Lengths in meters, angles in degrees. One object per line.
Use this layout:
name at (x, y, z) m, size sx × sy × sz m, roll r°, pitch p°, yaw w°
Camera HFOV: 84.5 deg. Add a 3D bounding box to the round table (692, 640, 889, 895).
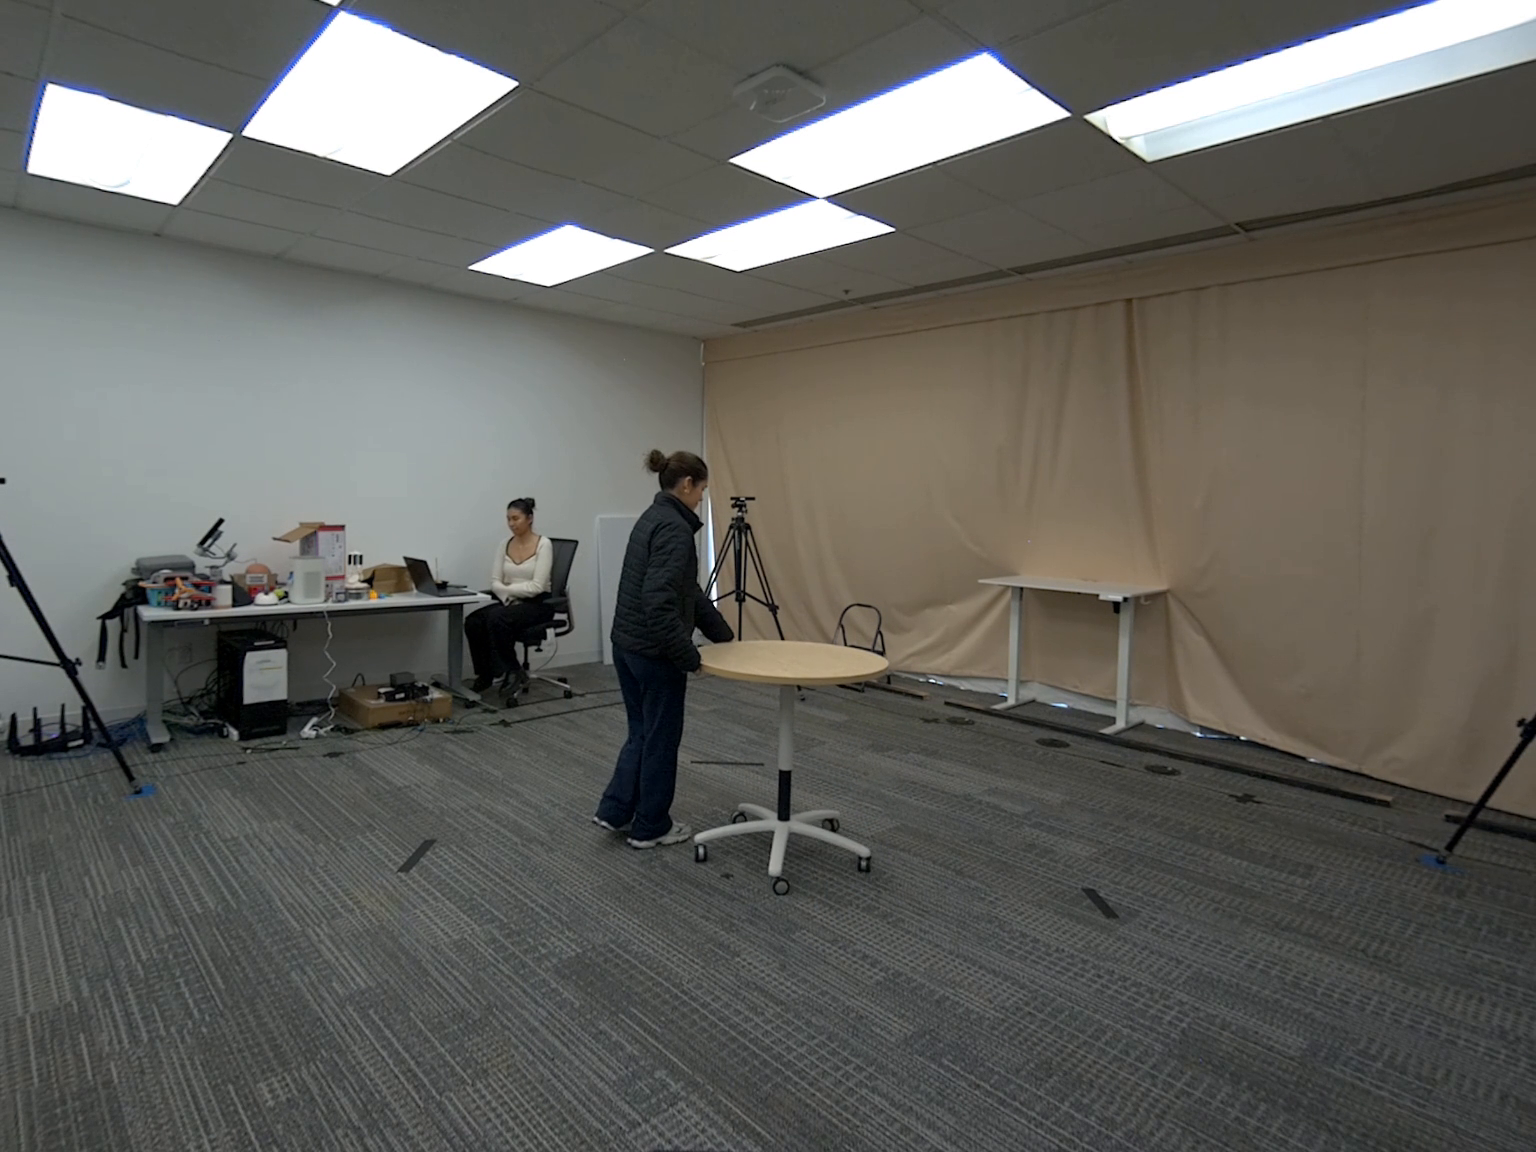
round table at (0.074, 0.706, 3.255) m, size 0.784 × 0.784 × 0.787 m, roll 1°, pitch 4°, yaw -1°
